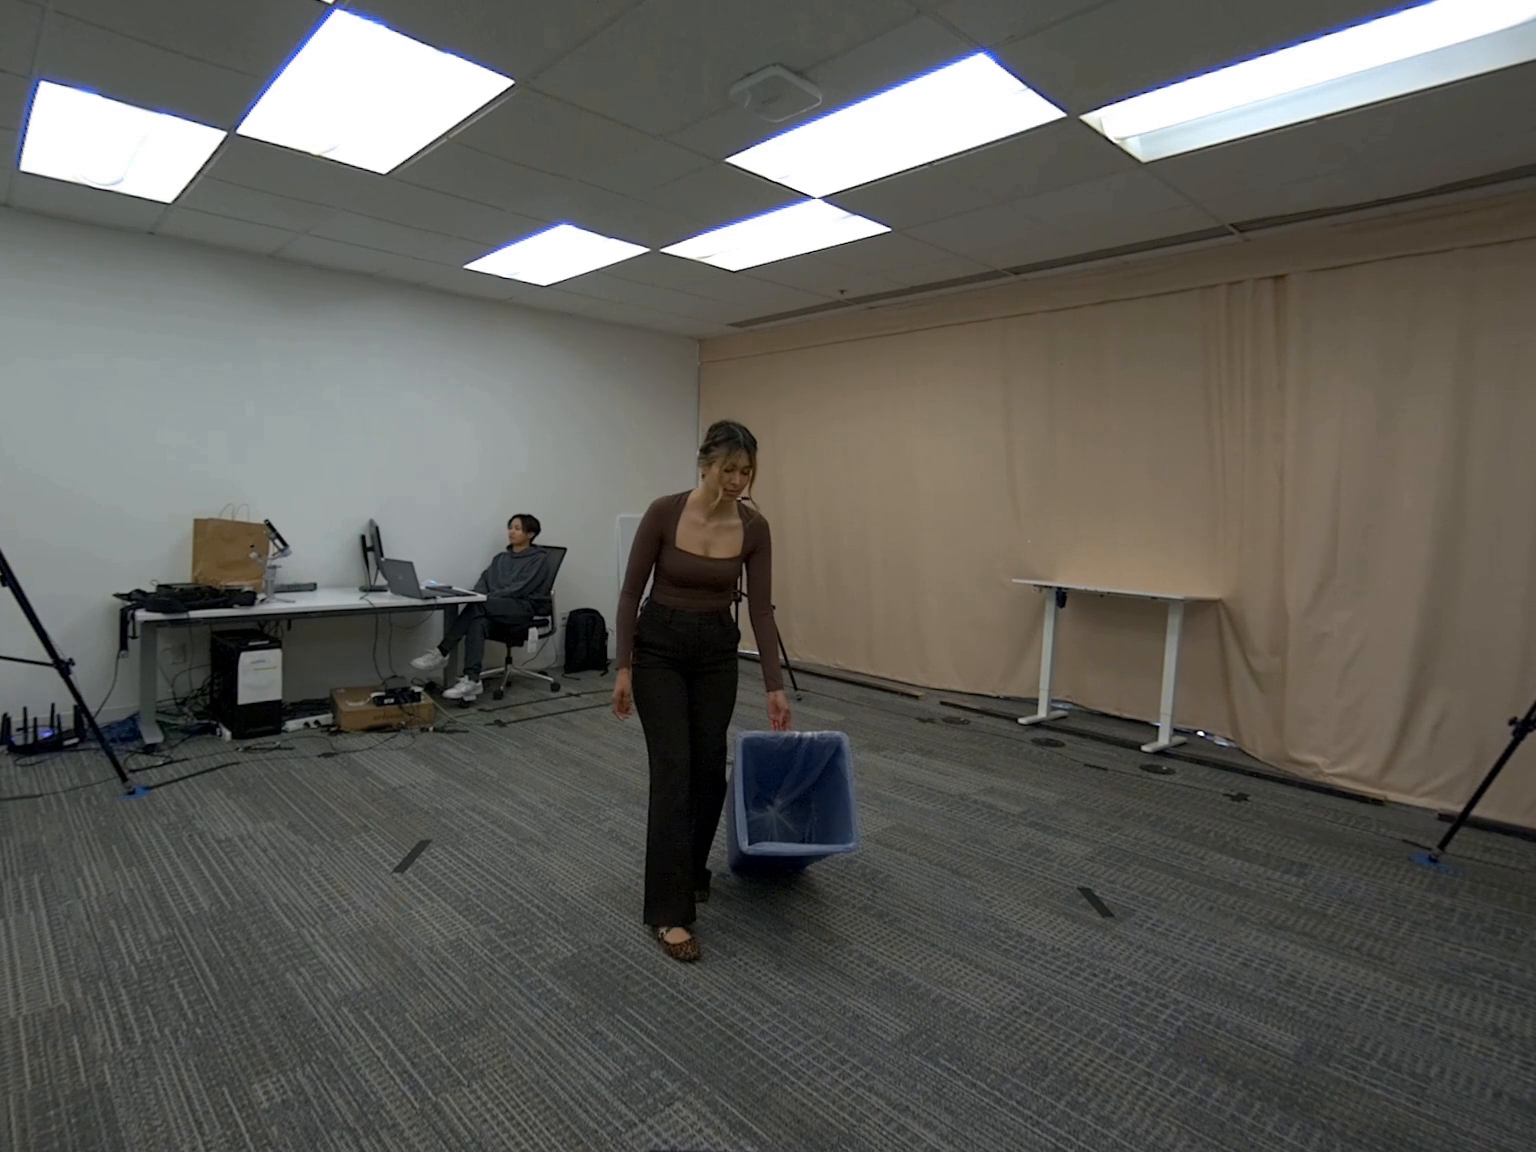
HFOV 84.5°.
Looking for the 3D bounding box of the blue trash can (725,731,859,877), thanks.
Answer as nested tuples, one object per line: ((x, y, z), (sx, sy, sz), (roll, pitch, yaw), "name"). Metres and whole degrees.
((0.027, 0.817, 2.916), (0.371, 0.385, 0.705), (1, -27, -9), "blue trash can")
